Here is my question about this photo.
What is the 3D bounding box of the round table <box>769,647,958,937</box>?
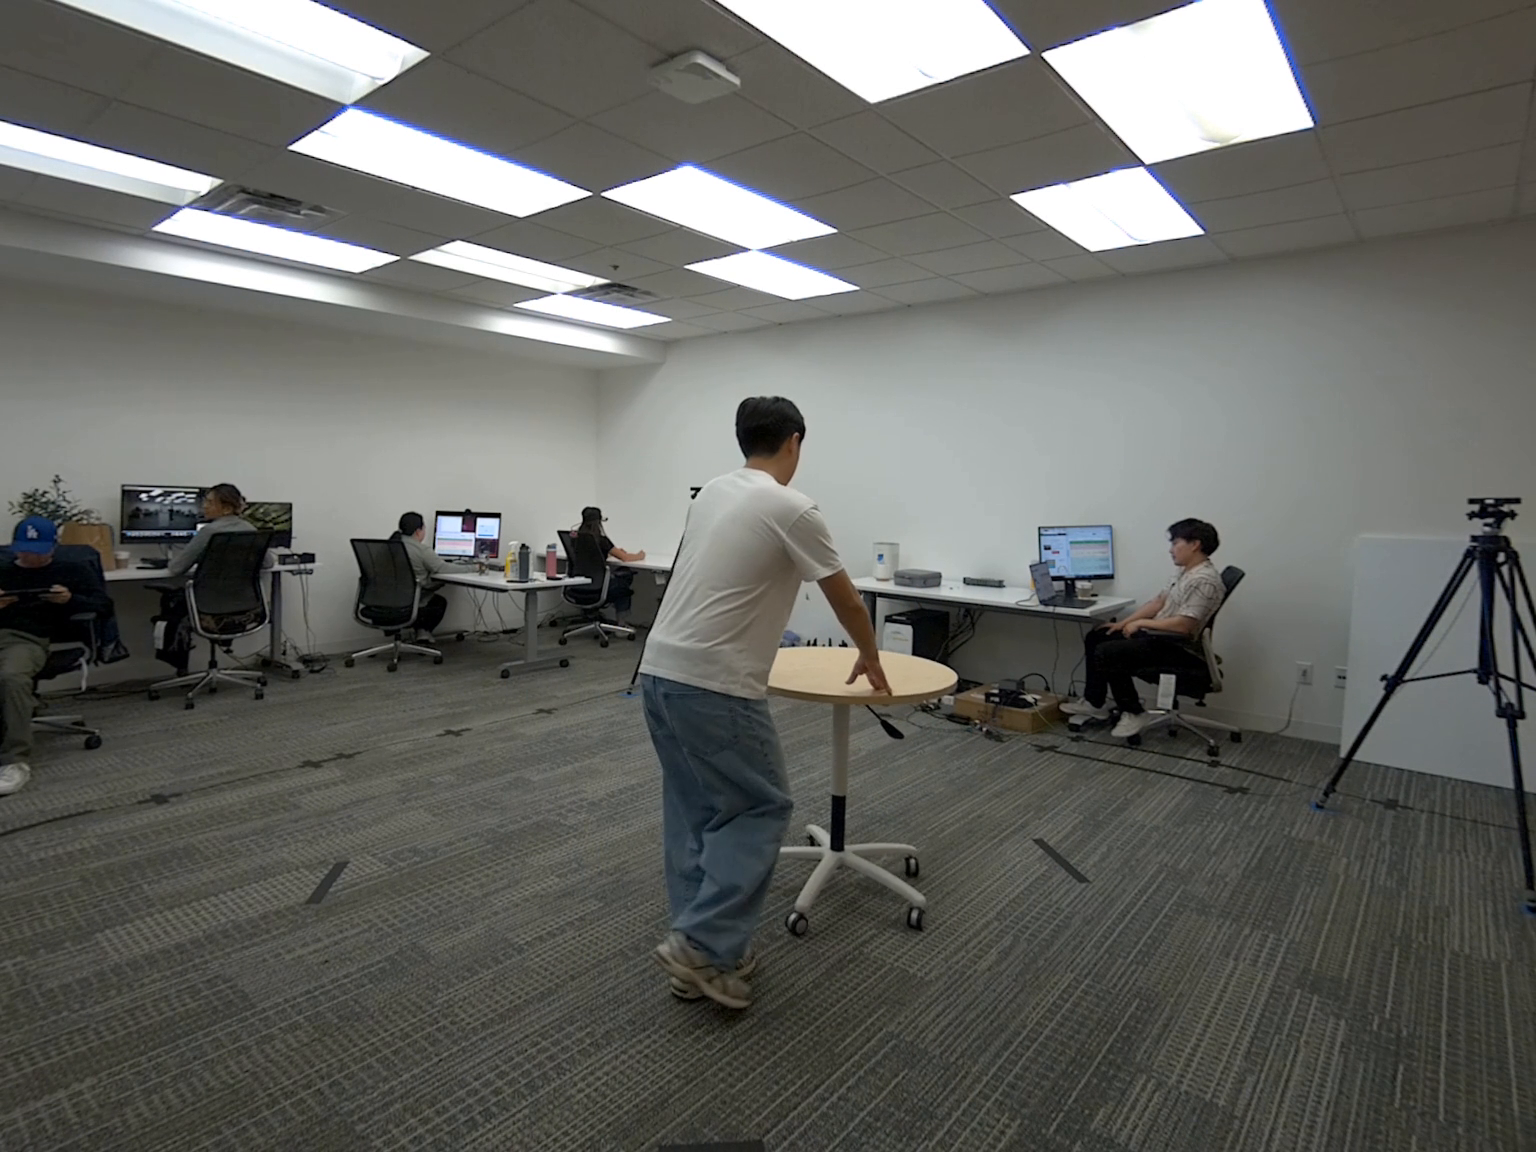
[{"bbox_3d":[0.236,0.705,2.946,0.763,0.791,0.768,1,5,-2],"label":"round table"}]
